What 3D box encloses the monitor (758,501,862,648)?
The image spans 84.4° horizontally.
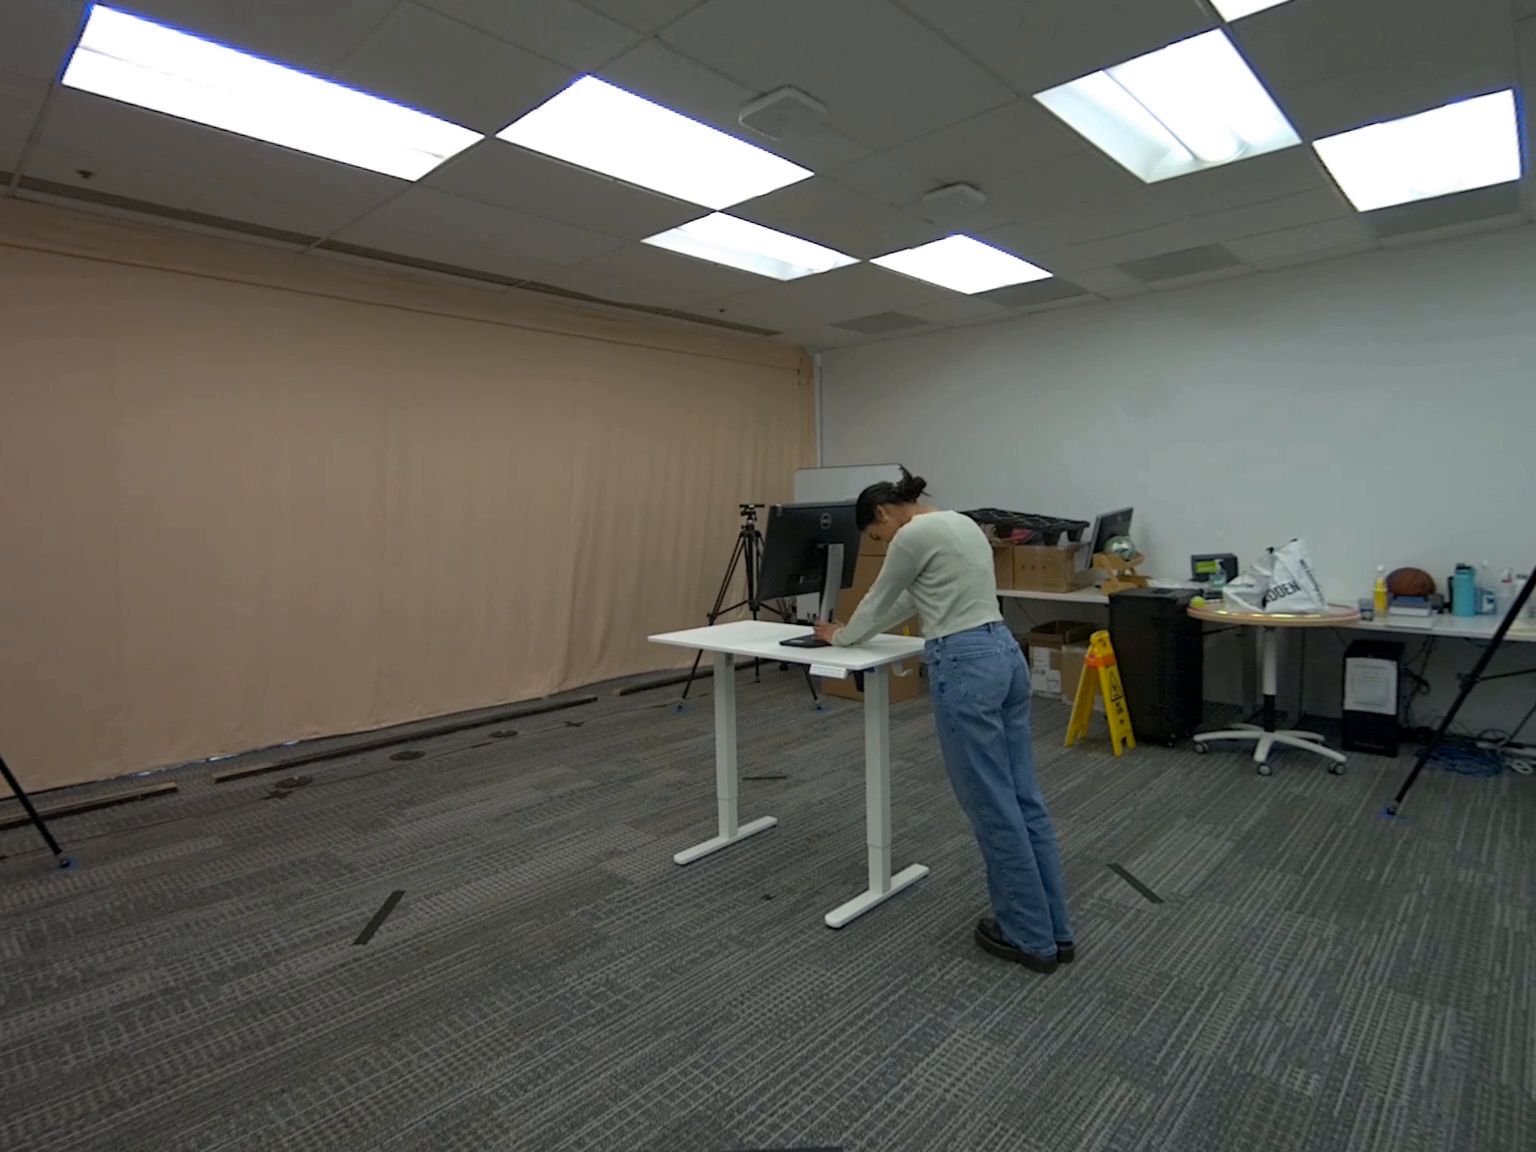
[{"bbox_3d":[0.192,-0.009,3.079,0.193,0.521,0.523,2,6,43],"label":"monitor"}]
